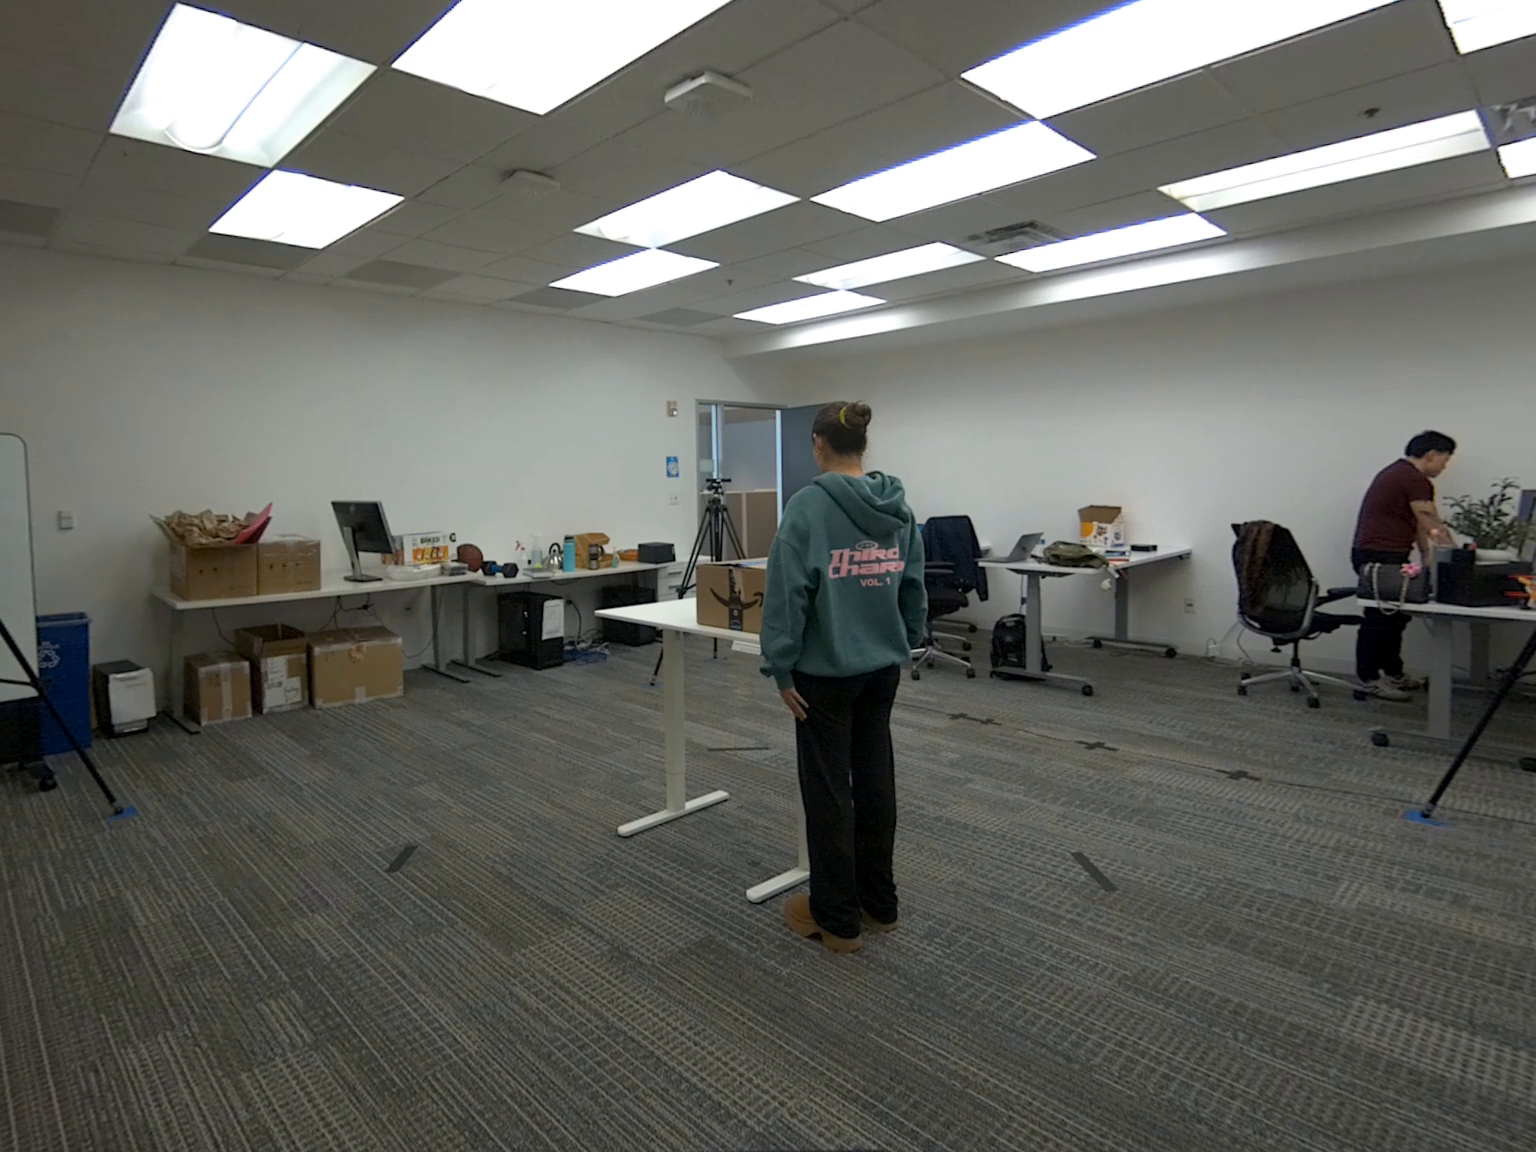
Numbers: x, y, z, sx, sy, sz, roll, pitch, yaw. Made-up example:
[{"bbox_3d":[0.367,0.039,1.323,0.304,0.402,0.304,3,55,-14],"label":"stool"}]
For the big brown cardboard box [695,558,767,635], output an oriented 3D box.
[{"bbox_3d":[0.093,0.054,3.076,0.574,0.232,0.430,-7,8,-45],"label":"big brown cardboard box"}]
